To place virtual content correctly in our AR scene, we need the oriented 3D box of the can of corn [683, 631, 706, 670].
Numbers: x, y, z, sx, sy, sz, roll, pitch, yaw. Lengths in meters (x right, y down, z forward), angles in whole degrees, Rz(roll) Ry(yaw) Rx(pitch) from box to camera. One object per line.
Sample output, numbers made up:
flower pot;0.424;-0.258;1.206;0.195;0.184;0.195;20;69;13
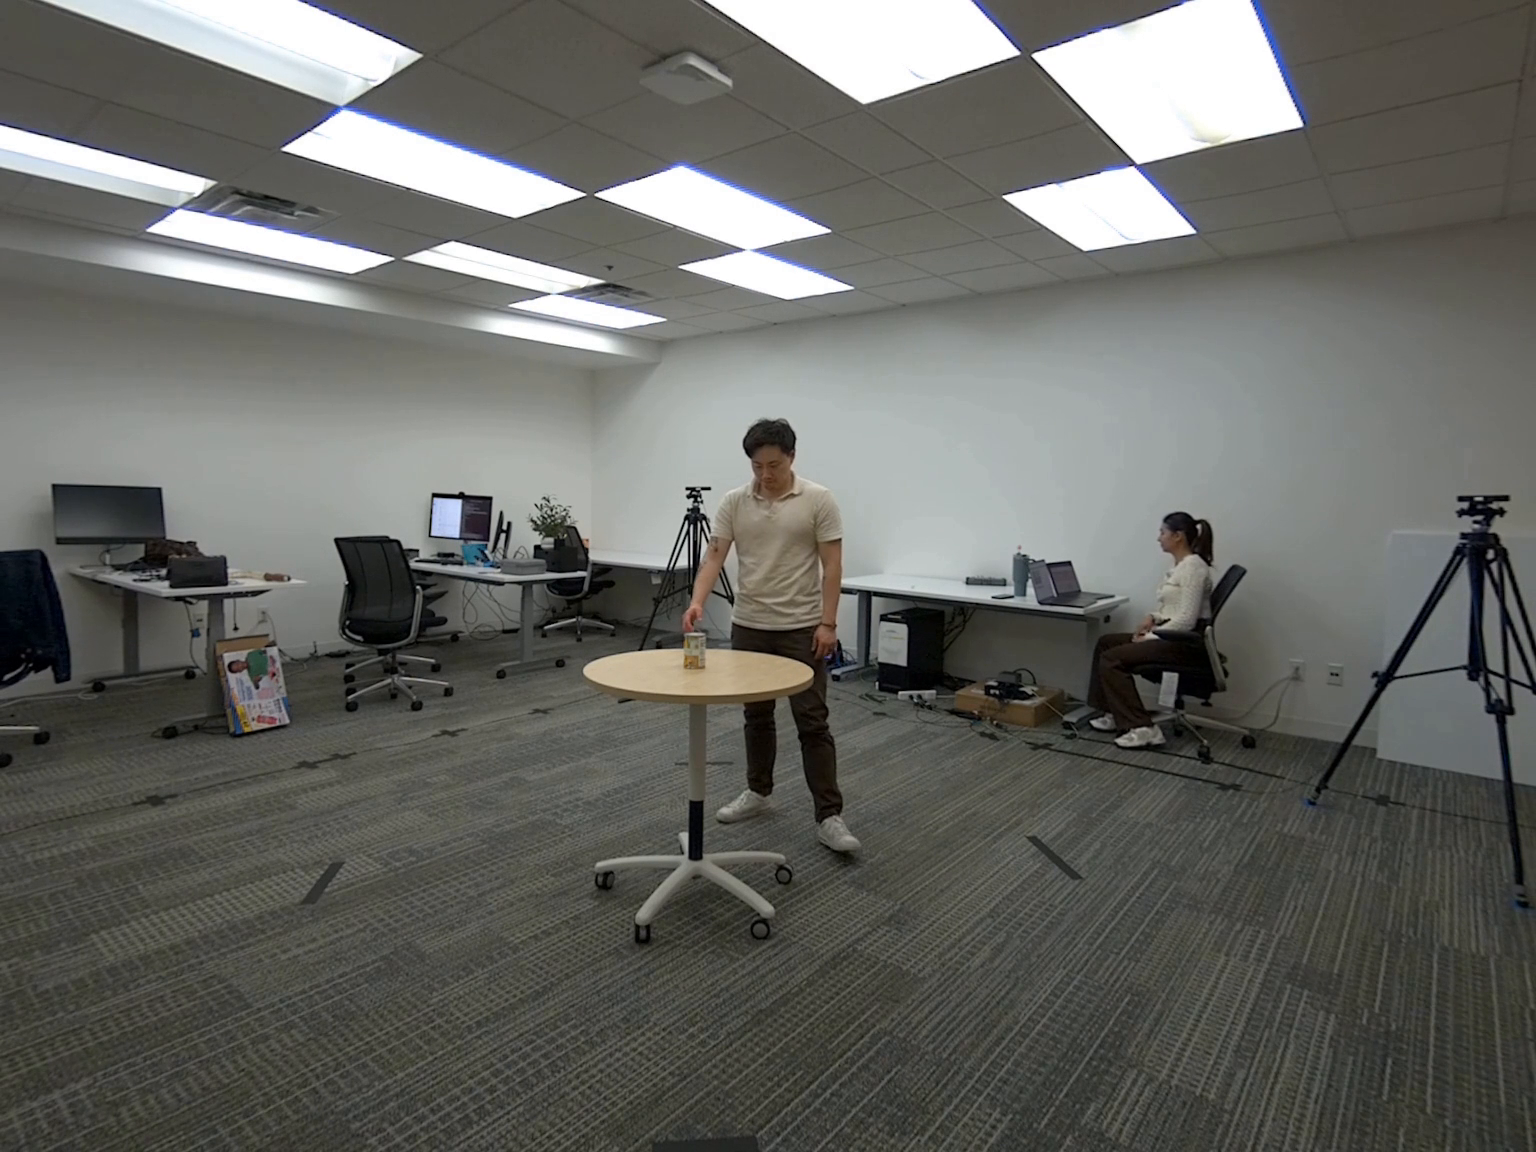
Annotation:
can of corn;-0.259;0.246;2.868;0.074;0.110;0.074;0;4;-2
